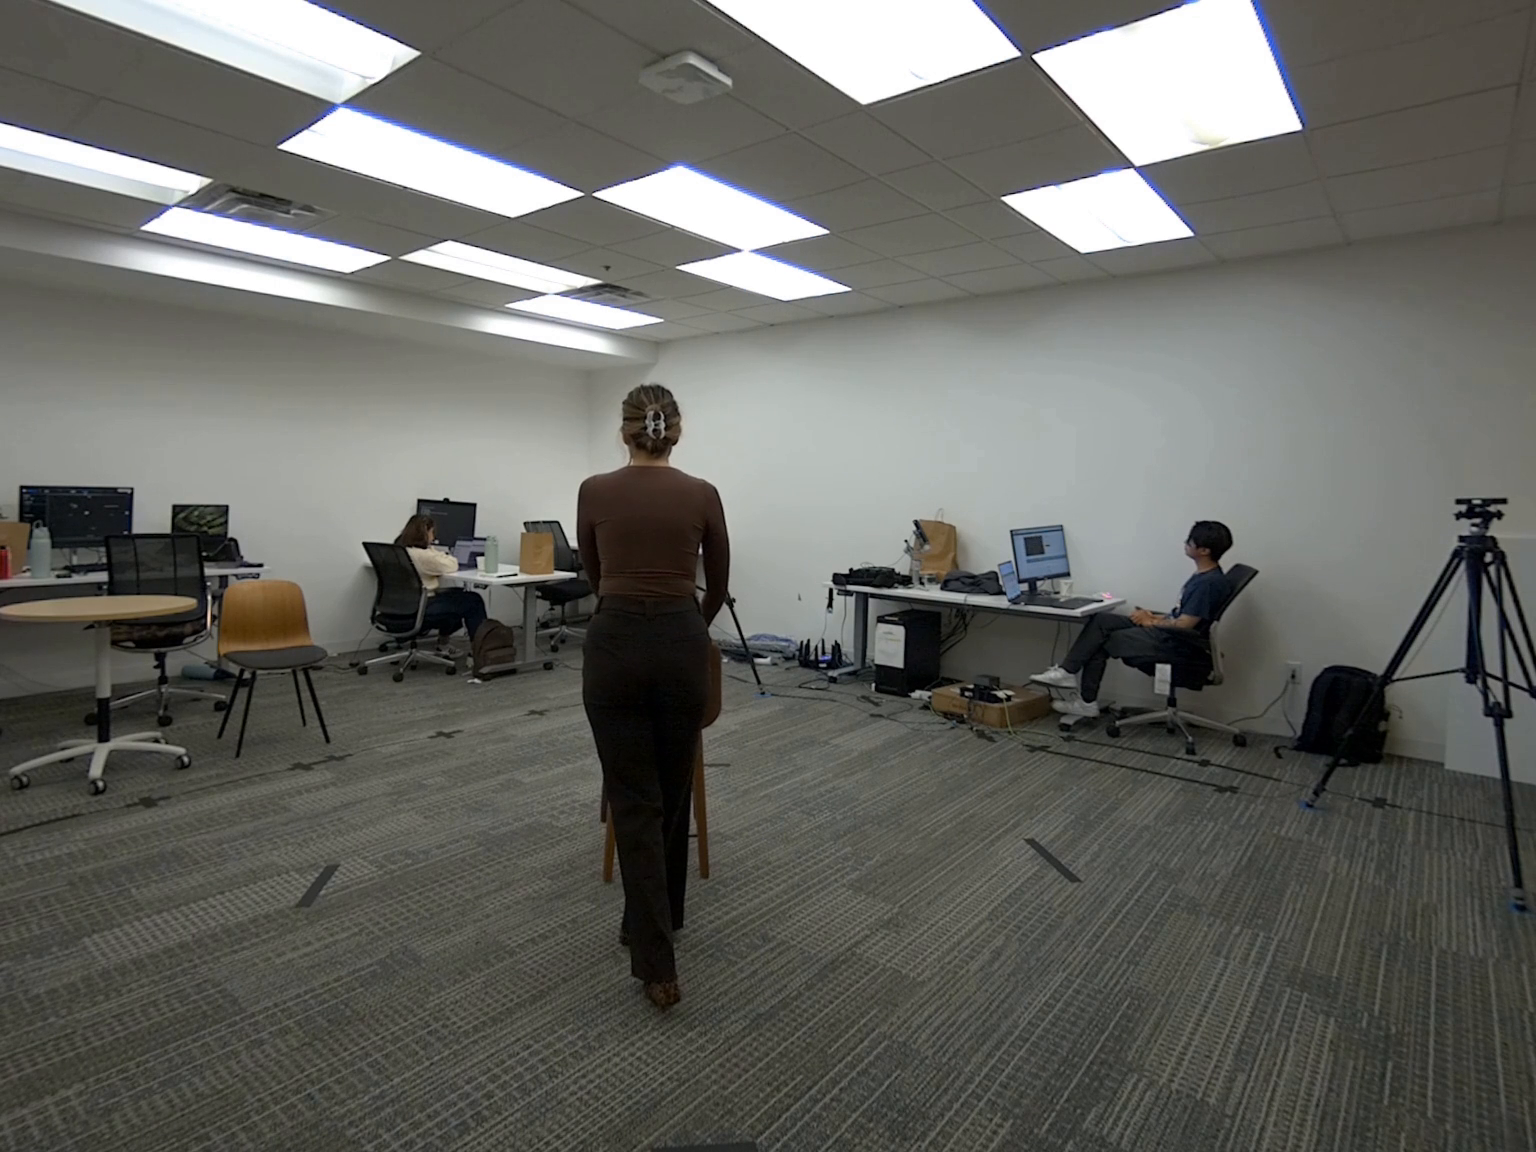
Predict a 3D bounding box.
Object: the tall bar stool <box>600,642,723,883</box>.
[{"bbox_3d":[-0.428,0.605,3.158,0.453,0.881,0.476,1,11,-9],"label":"tall bar stool"}]
